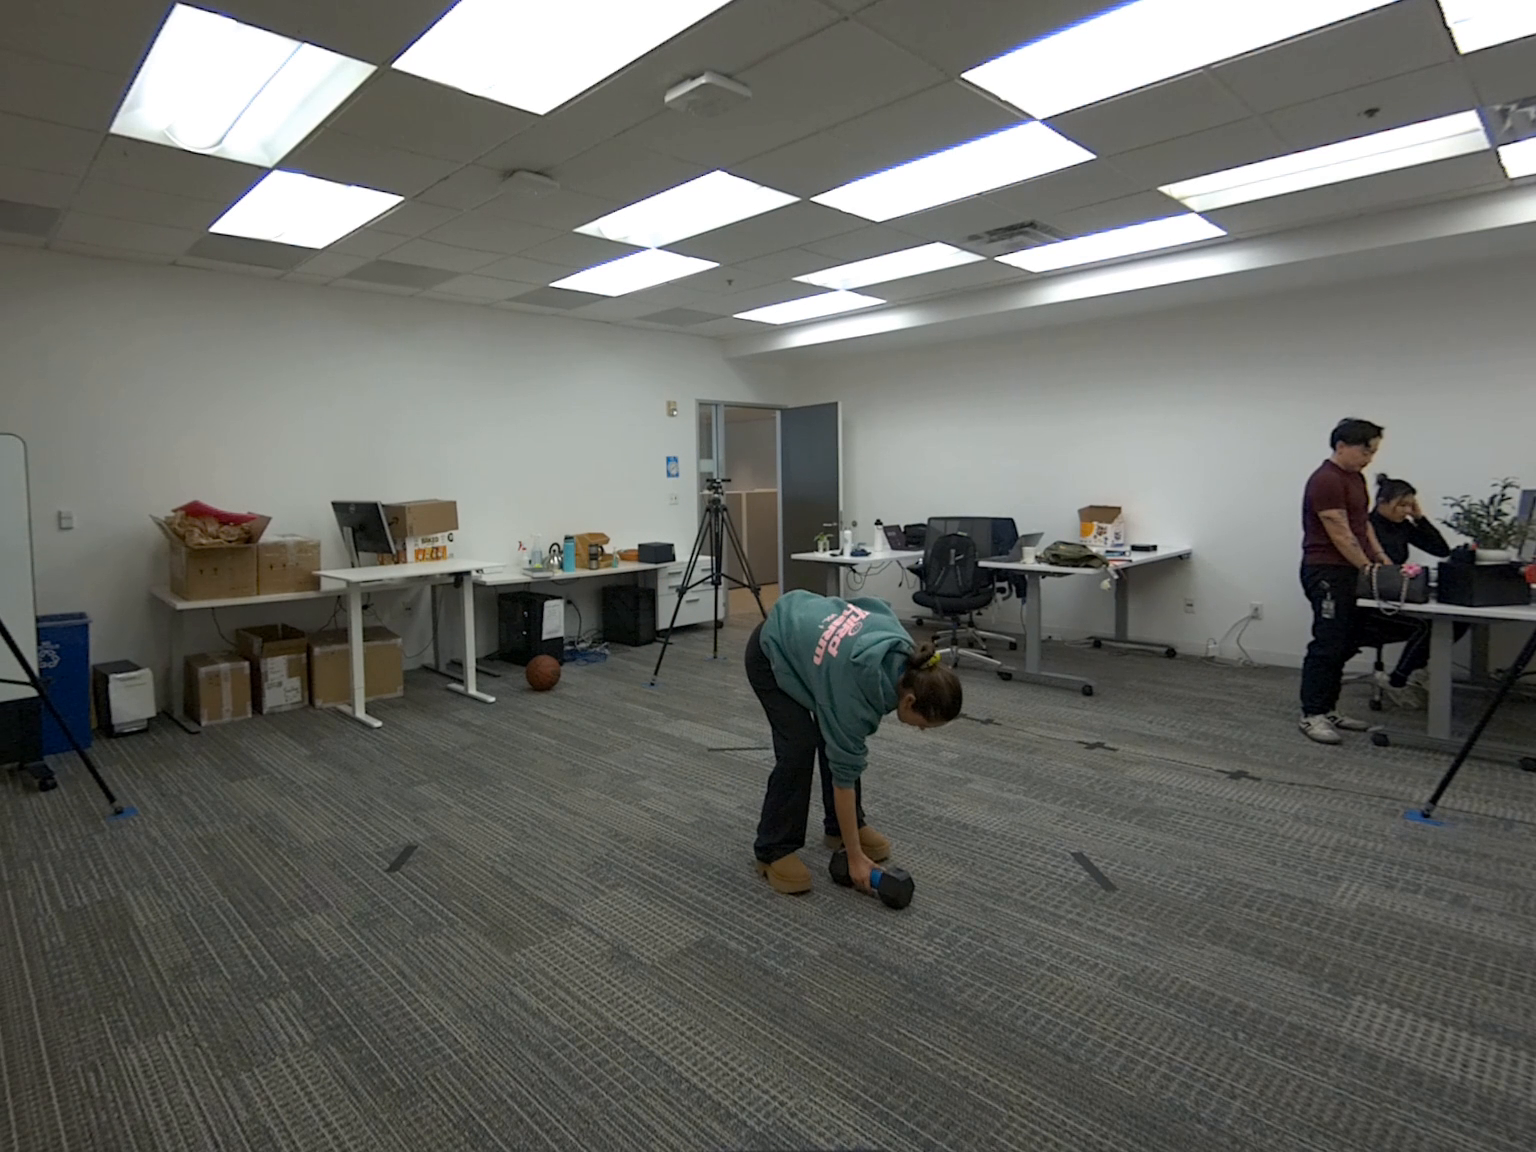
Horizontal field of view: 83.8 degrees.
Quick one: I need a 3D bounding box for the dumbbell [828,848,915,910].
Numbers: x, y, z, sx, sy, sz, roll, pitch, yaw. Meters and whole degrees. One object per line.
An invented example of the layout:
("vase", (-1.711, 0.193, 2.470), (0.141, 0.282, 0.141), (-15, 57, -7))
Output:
("dumbbell", (0.348, 1.013, 2.866), (0.120, 0.108, 0.302), (-7, 8, -41))
